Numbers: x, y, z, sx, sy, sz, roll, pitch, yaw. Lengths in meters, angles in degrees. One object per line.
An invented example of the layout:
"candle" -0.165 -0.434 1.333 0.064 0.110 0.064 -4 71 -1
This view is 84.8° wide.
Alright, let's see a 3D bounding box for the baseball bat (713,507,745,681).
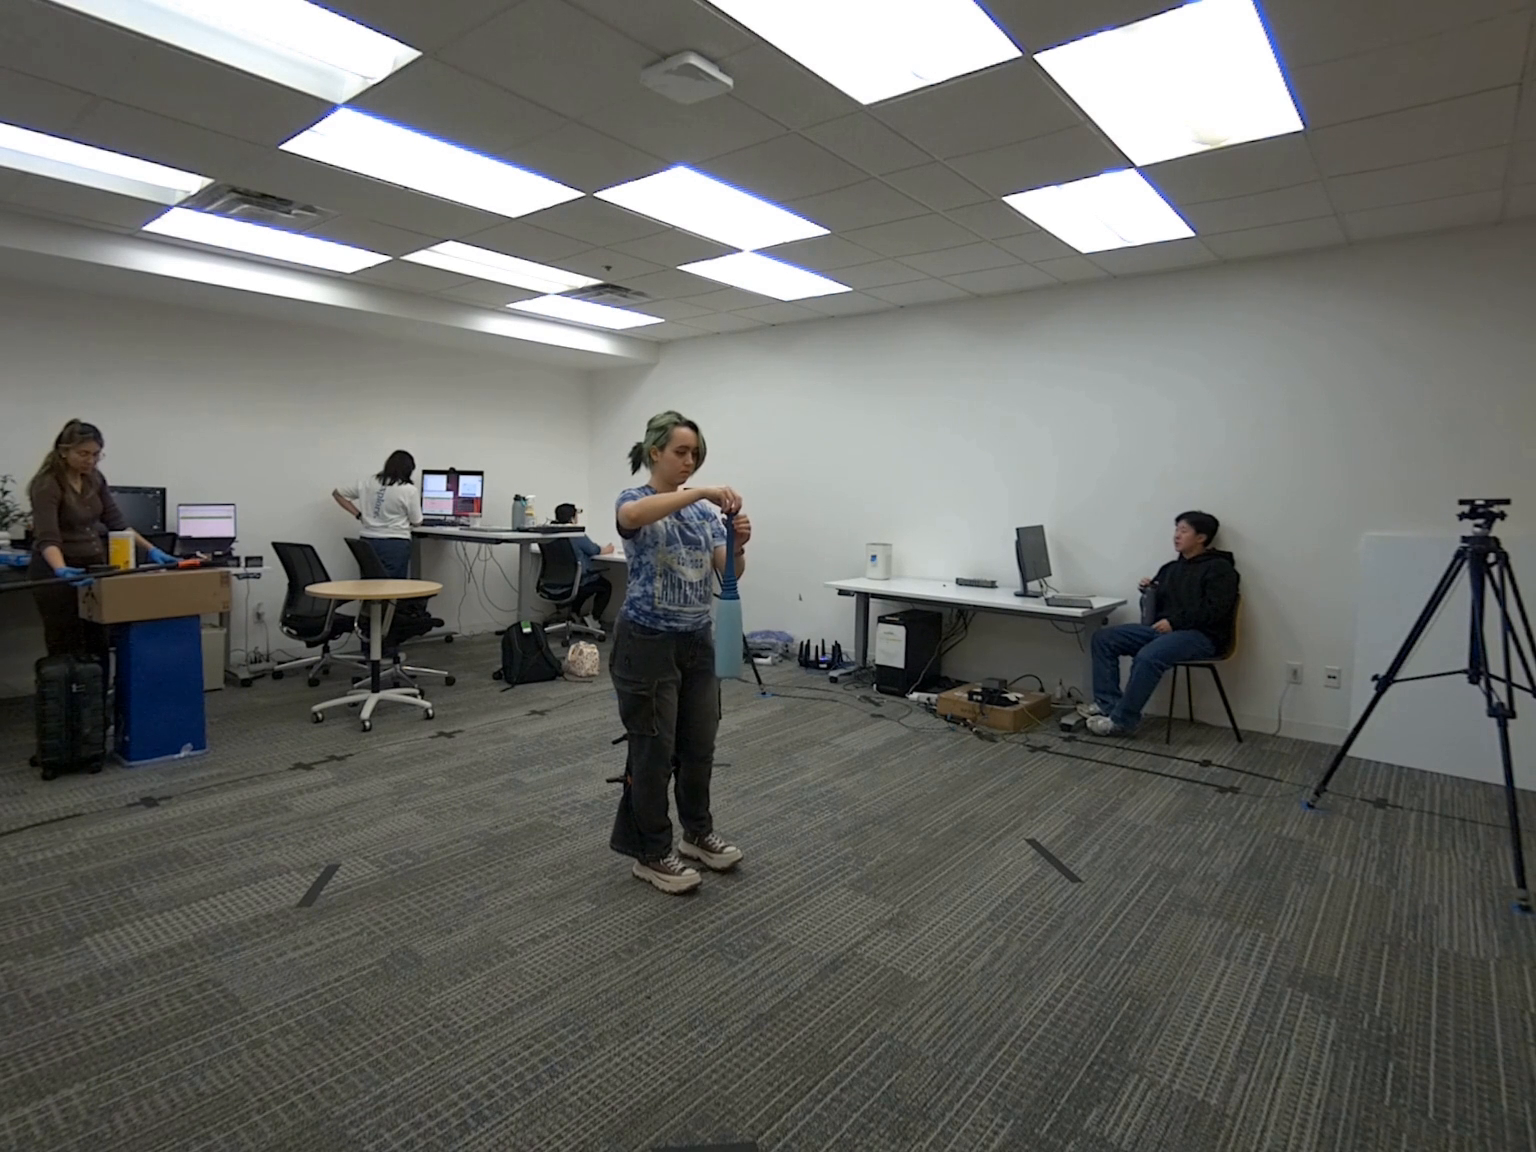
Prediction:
"baseball bat" -0.130 0.053 2.695 0.089 0.543 0.089 1 0 -2
